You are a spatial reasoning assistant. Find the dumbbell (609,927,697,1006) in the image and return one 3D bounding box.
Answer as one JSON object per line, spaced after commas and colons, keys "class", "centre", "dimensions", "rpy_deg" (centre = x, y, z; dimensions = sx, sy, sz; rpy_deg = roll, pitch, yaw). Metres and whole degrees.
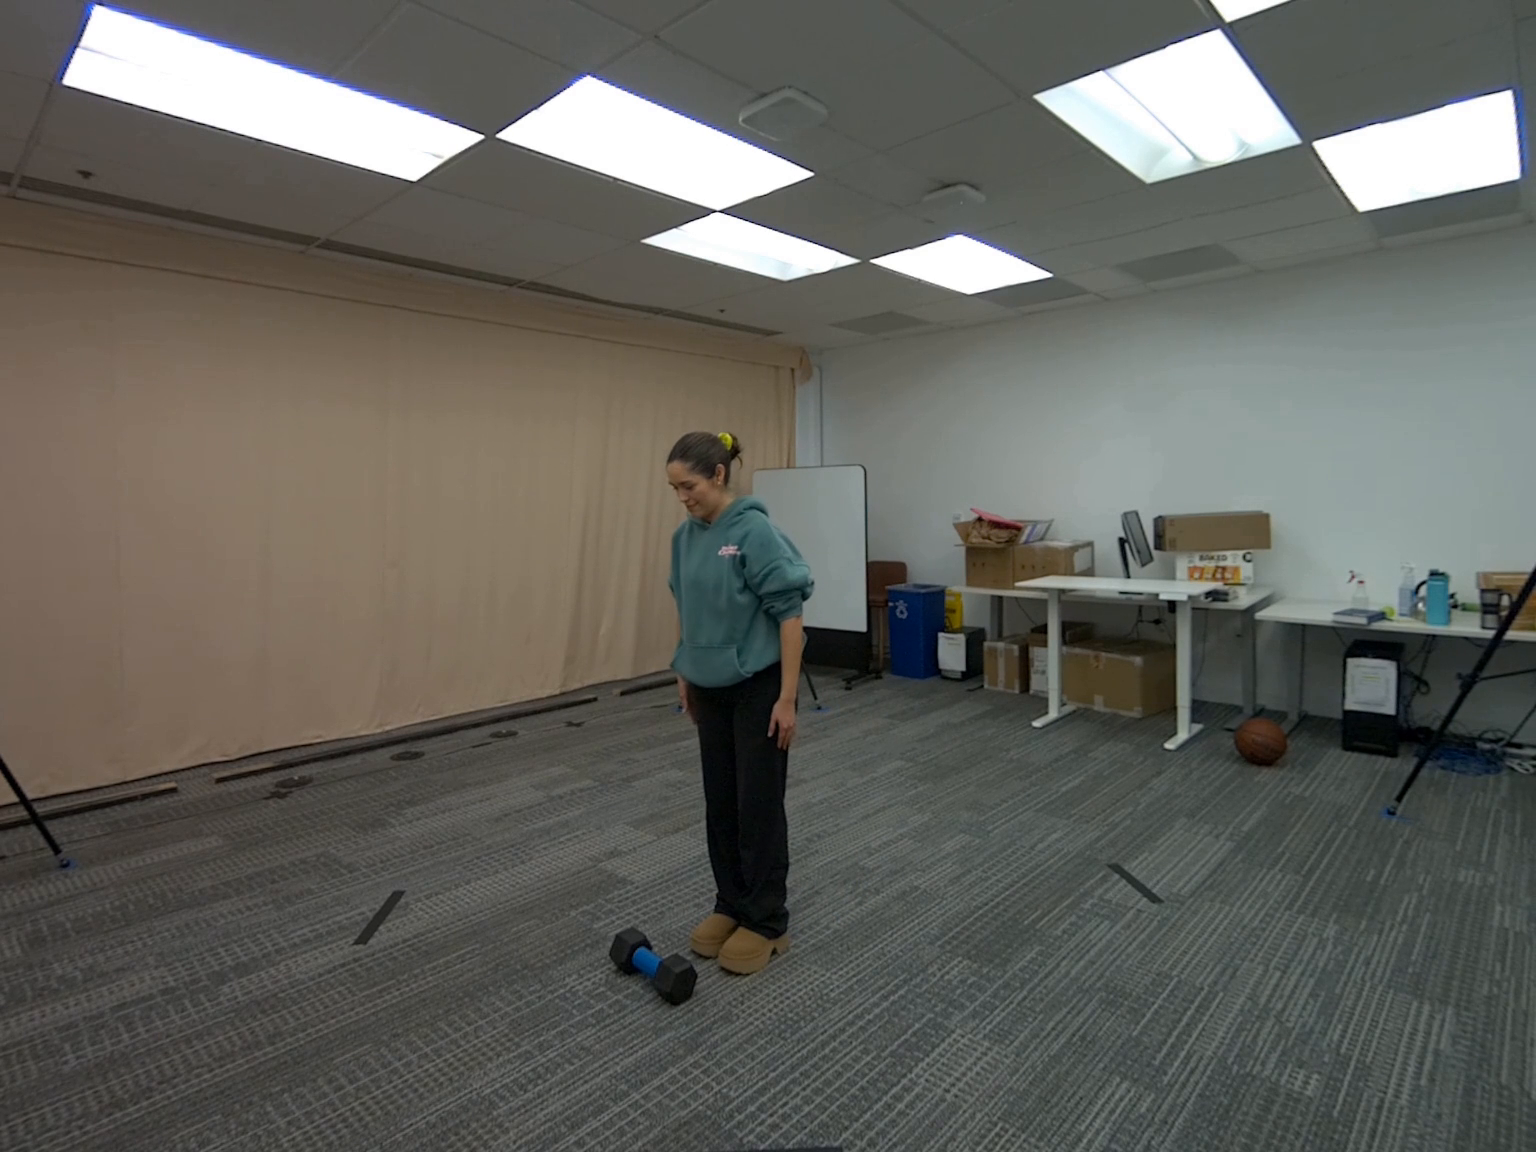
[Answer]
{"class": "dumbbell", "centre": [-0.337, 1.138, 2.457], "dimensions": [0.303, 0.120, 0.107], "rpy_deg": [4, 38, 47]}
